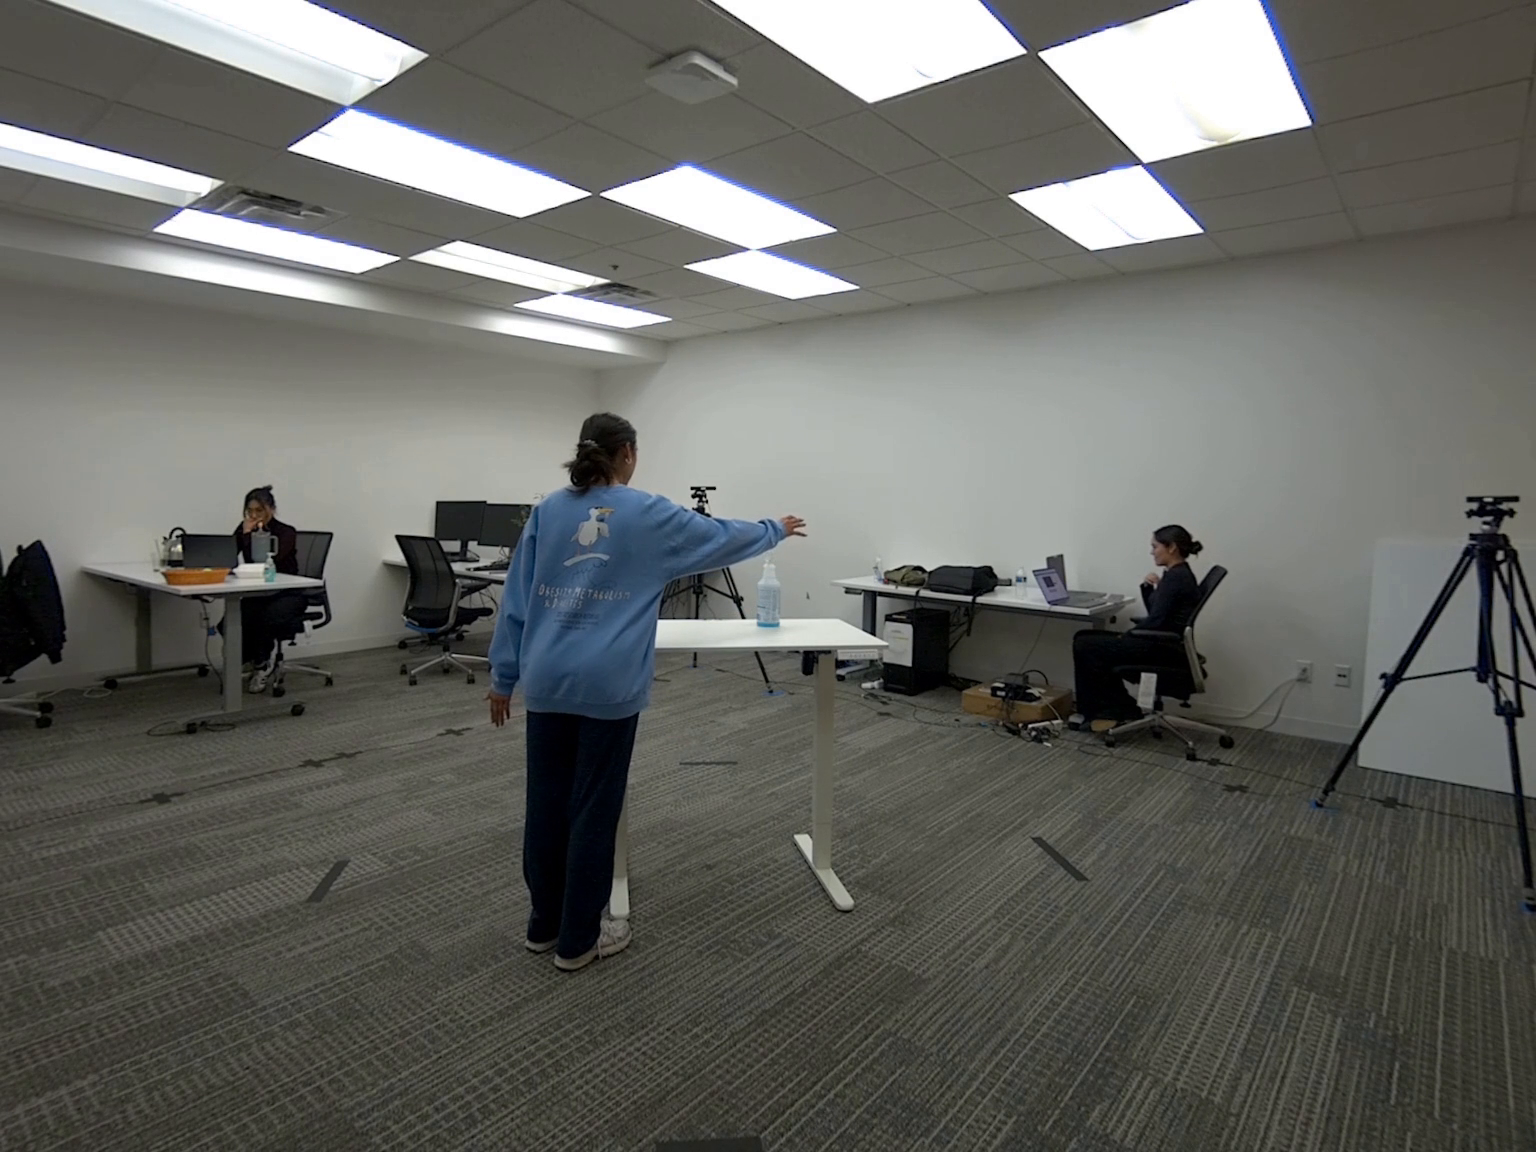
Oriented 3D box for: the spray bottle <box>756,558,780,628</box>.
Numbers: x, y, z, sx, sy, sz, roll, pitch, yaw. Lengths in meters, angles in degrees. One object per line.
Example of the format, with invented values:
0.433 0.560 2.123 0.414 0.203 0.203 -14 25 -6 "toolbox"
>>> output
-0.004 0.038 3.164 0.090 0.296 0.087 4 3 36 "spray bottle"
